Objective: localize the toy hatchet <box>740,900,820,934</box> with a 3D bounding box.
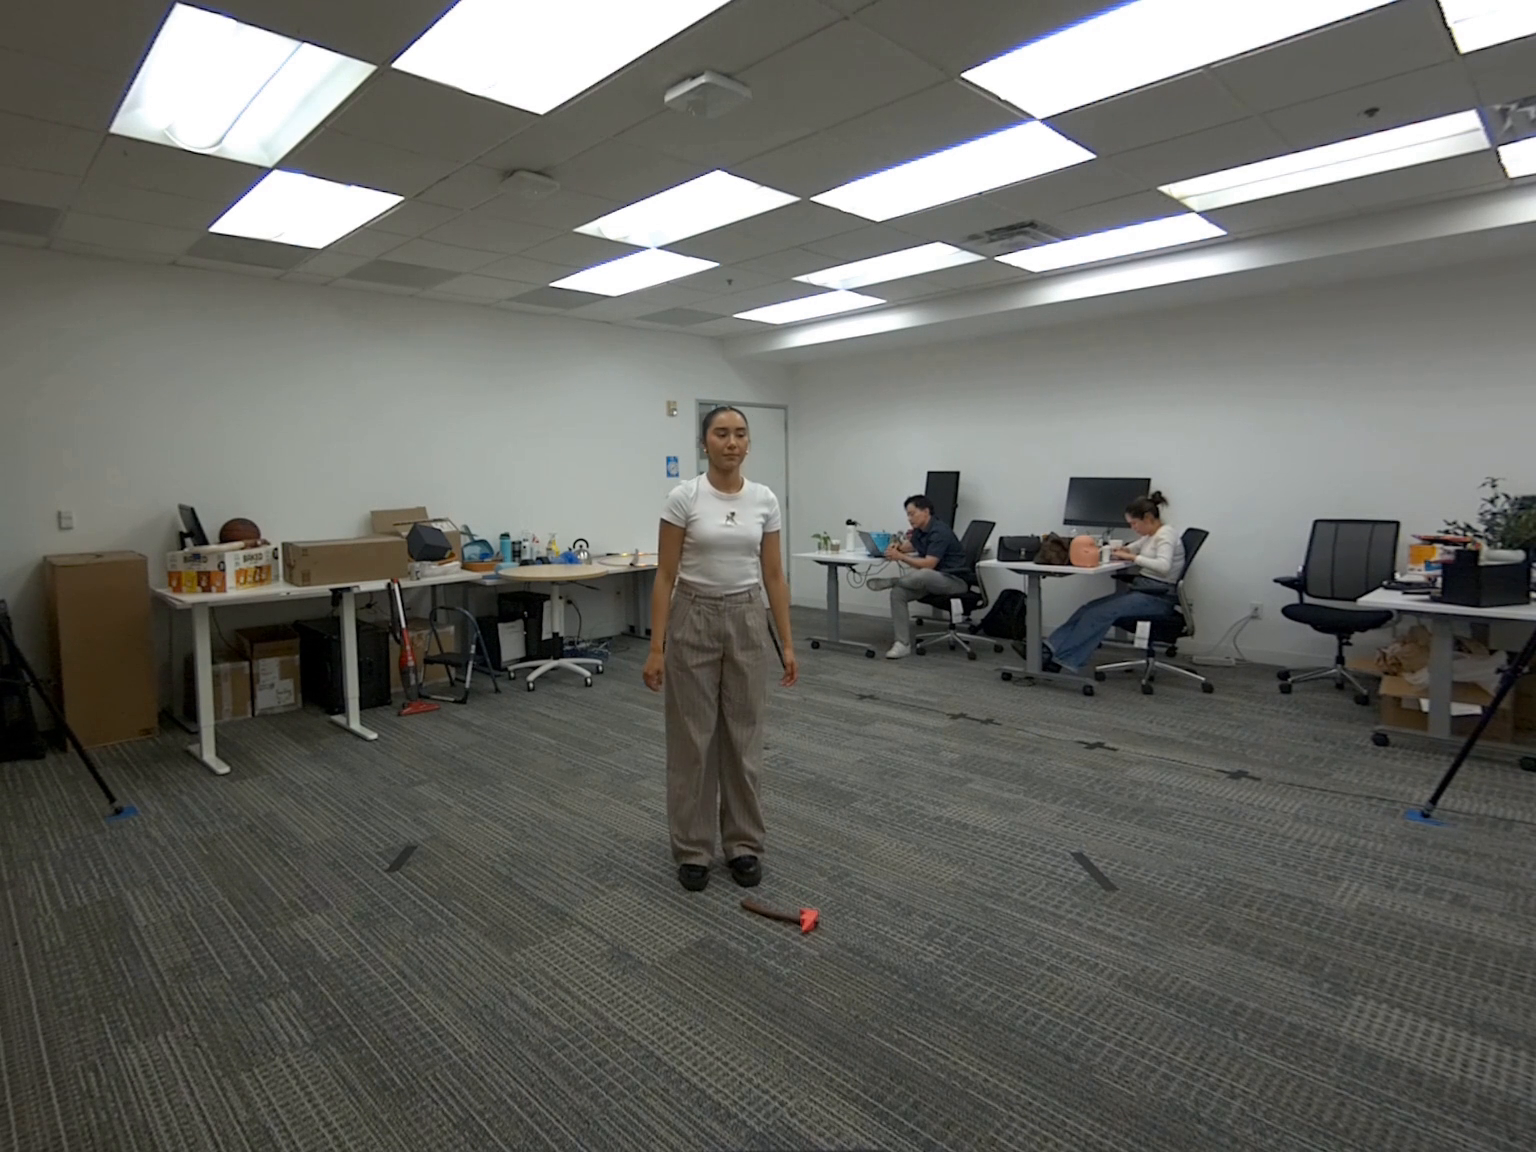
[{"bbox_3d":[0.057,1.076,2.737,0.278,0.029,0.128,3,10,40],"label":"toy hatchet"}]
